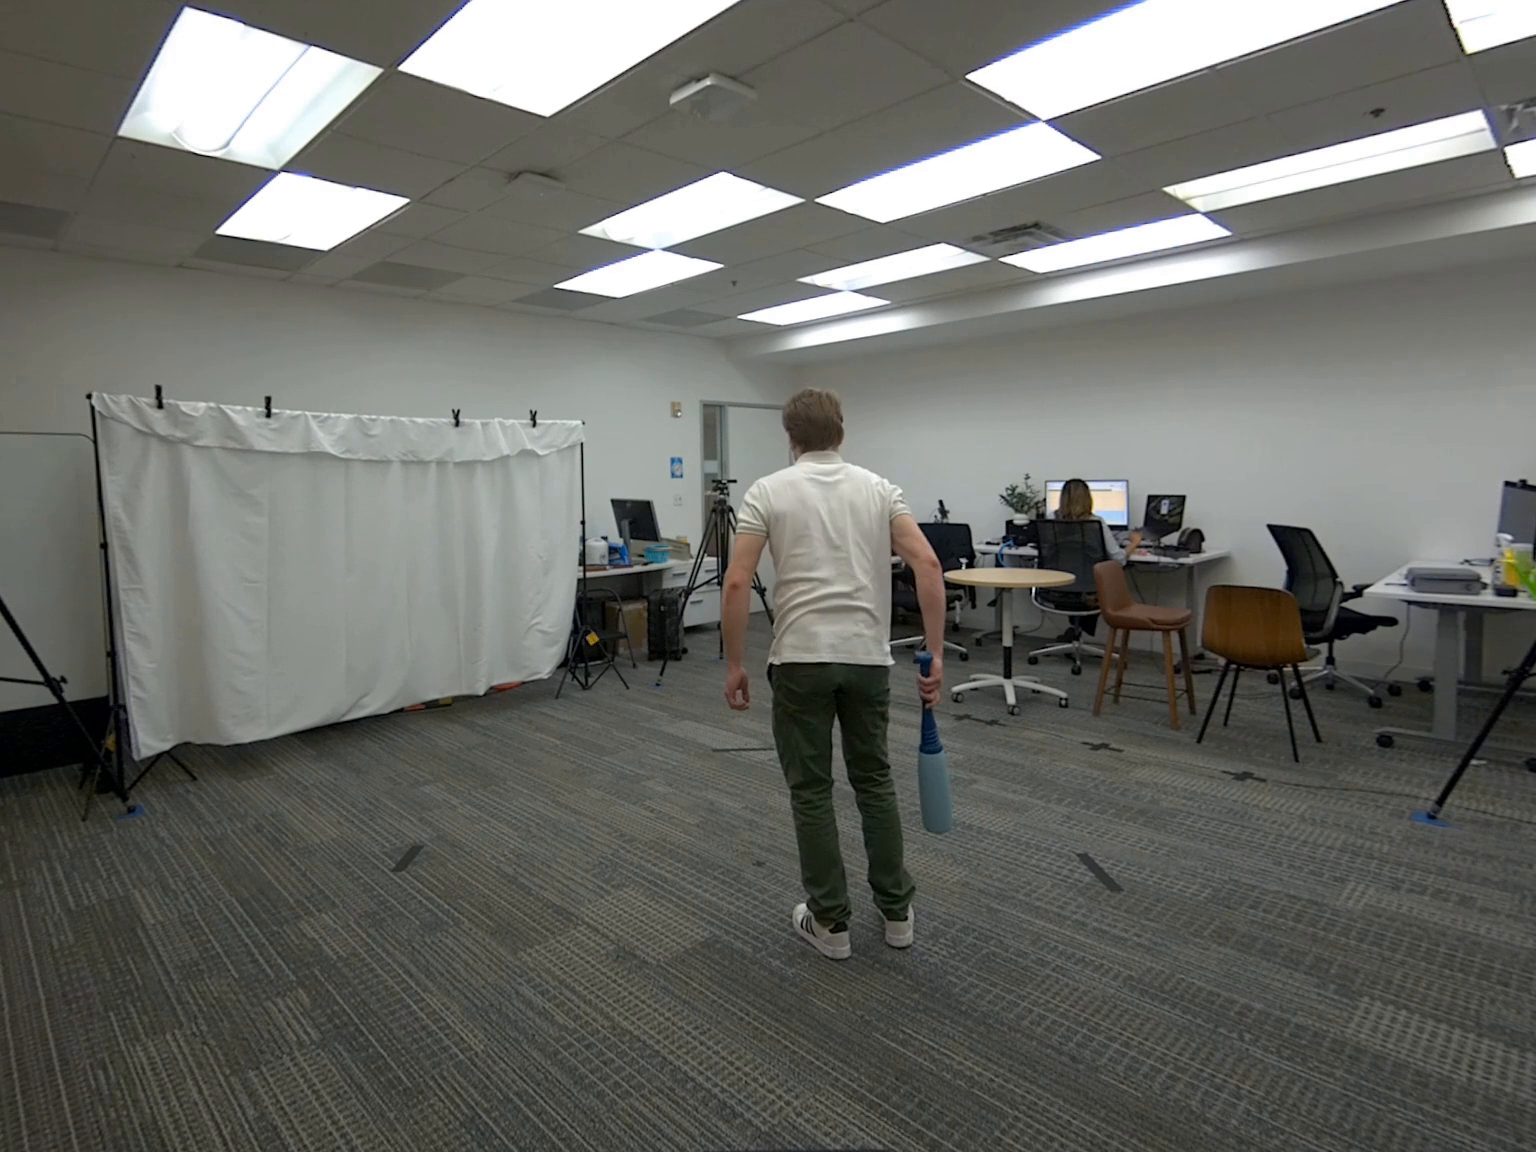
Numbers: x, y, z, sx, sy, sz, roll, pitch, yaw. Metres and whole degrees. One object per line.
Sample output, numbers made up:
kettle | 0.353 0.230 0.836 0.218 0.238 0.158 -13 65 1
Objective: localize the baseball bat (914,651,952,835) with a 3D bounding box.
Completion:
baseball bat | 0.466 0.485 2.466 0.089 0.537 0.090 -7 10 0
